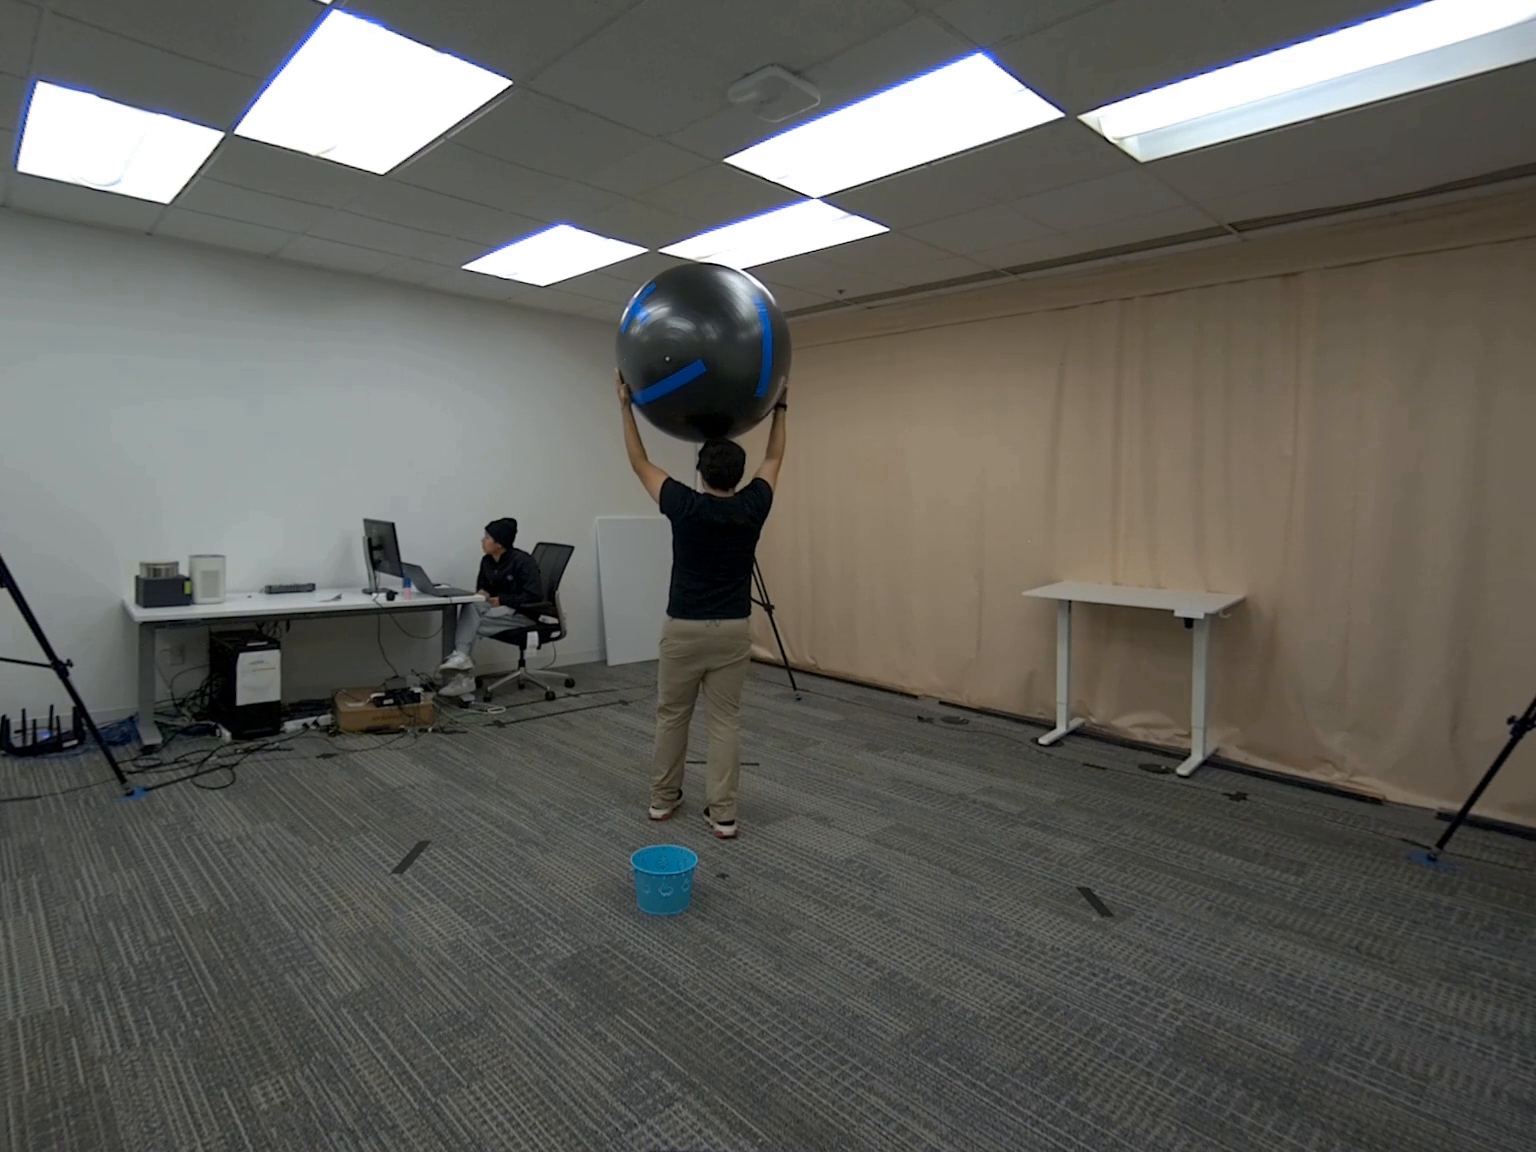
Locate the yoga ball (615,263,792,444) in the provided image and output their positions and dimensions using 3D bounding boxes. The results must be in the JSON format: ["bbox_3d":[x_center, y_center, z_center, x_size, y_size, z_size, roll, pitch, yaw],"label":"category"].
[{"bbox_3d":[-0.283,-0.948,3.627,0.757,0.756,0.761,1,4,-1],"label":"yoga ball"}]
